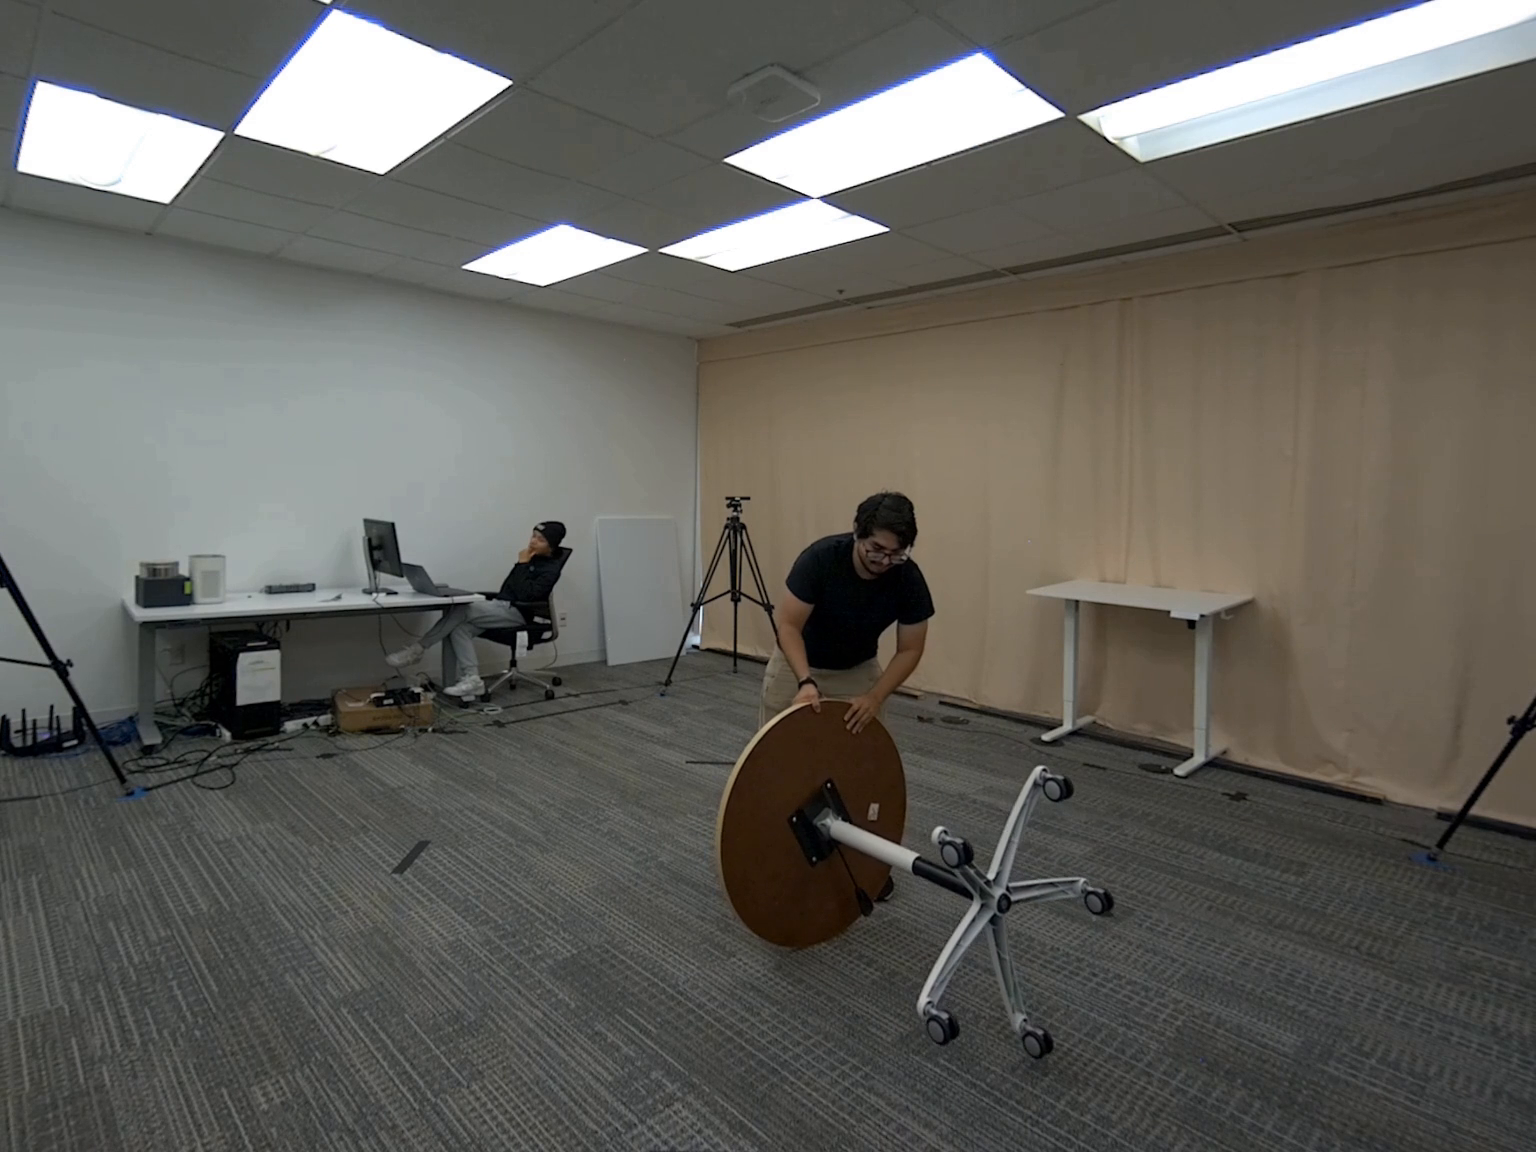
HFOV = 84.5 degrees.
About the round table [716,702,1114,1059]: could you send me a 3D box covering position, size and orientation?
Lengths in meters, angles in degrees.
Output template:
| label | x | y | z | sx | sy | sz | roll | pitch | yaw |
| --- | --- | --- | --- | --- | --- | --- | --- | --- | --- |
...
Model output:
| label | x | y | z | sx | sy | sz | roll | pitch | yaw |
| --- | --- | --- | --- | --- | --- | --- | --- | --- | --- |
| round table | 0.386 | 0.792 | 2.330 | 0.768 | 0.784 | 0.805 | -2 | 3 | -35 |
